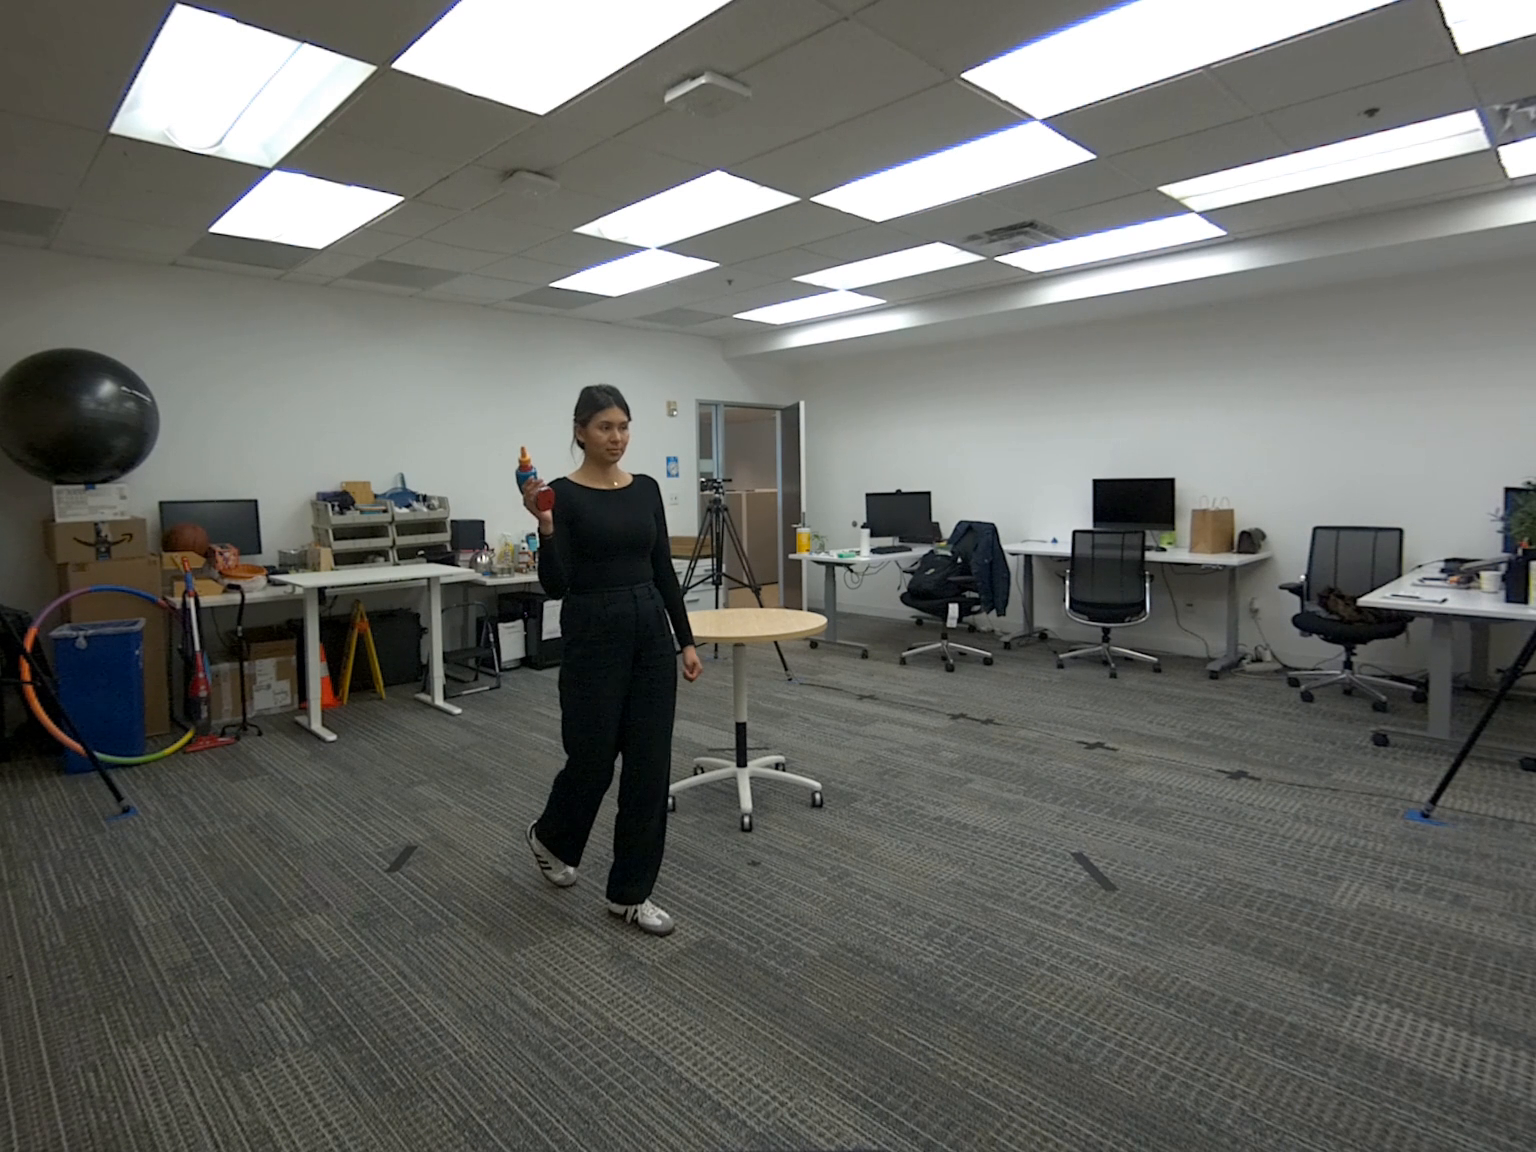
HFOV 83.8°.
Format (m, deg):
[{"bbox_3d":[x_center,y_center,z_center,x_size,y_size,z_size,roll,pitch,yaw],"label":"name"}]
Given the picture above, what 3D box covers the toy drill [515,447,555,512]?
[{"bbox_3d":[-0.673,-0.274,2.410,0.060,0.166,0.152,-21,43,-33],"label":"toy drill"}]
